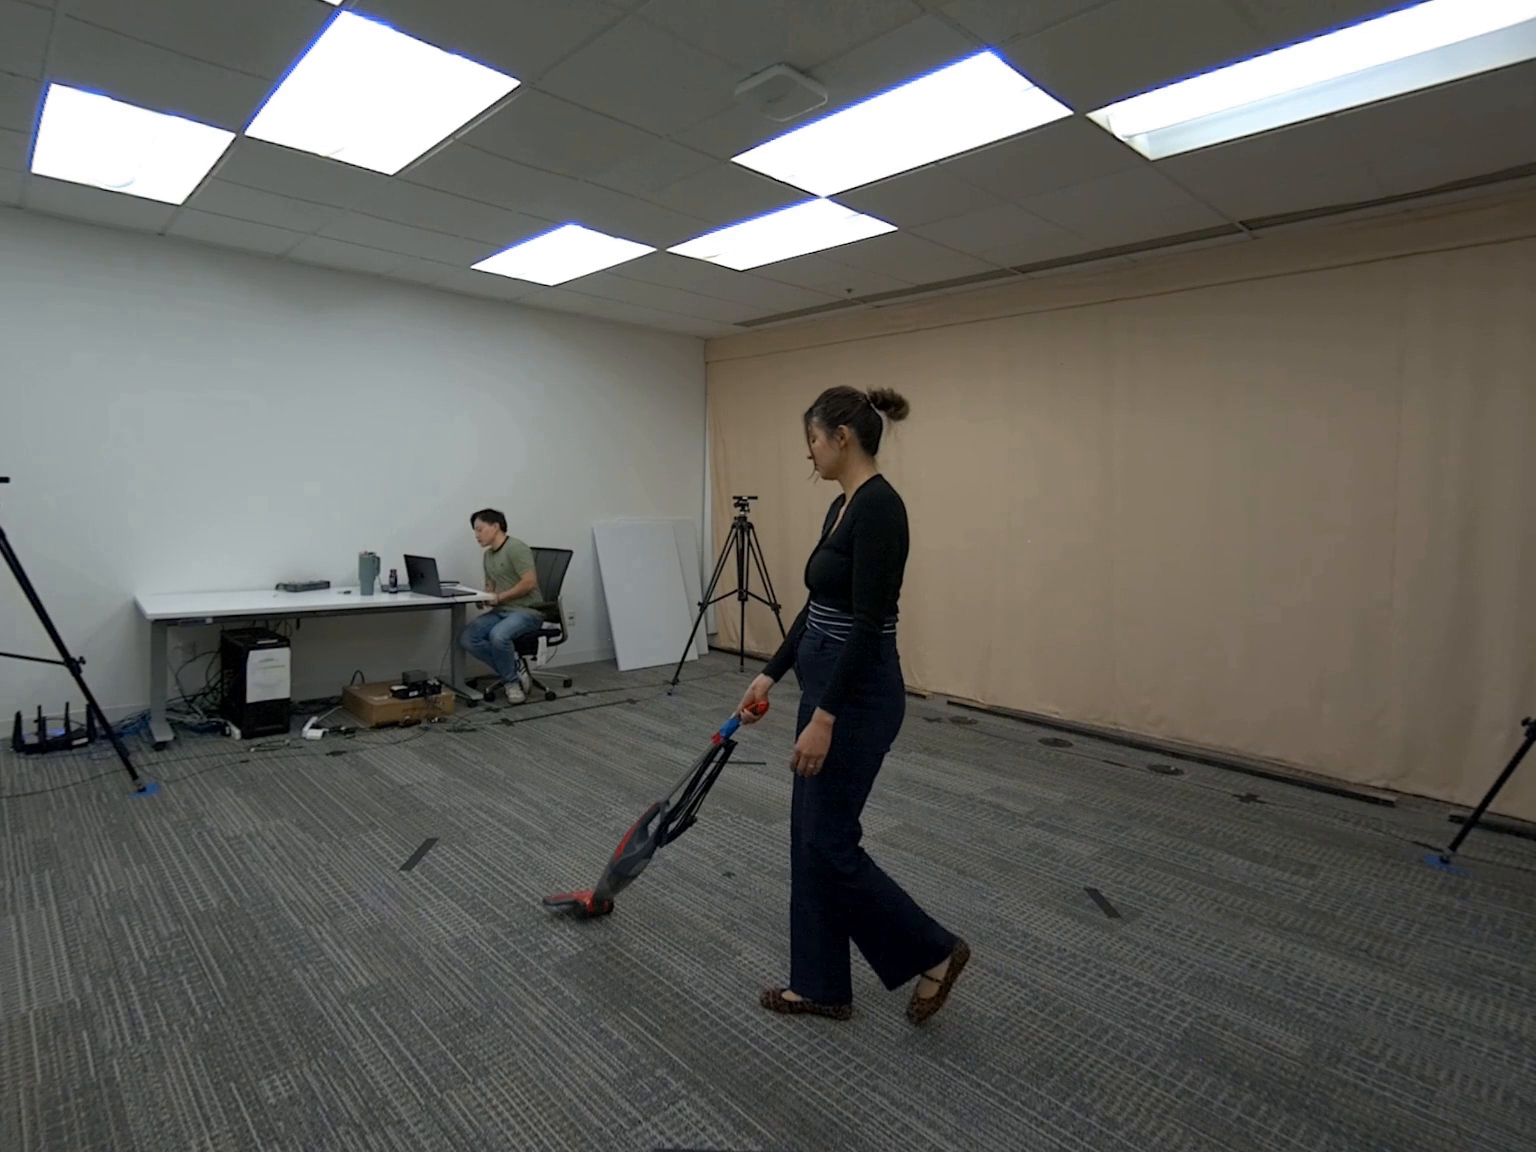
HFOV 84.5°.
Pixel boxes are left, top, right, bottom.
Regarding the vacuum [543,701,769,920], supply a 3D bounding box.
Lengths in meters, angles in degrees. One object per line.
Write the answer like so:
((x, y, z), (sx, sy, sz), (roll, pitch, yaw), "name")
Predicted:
((-0.322, 0.742, 2.582), (0.246, 1.047, 0.148), (3, 43, -50), "vacuum")
